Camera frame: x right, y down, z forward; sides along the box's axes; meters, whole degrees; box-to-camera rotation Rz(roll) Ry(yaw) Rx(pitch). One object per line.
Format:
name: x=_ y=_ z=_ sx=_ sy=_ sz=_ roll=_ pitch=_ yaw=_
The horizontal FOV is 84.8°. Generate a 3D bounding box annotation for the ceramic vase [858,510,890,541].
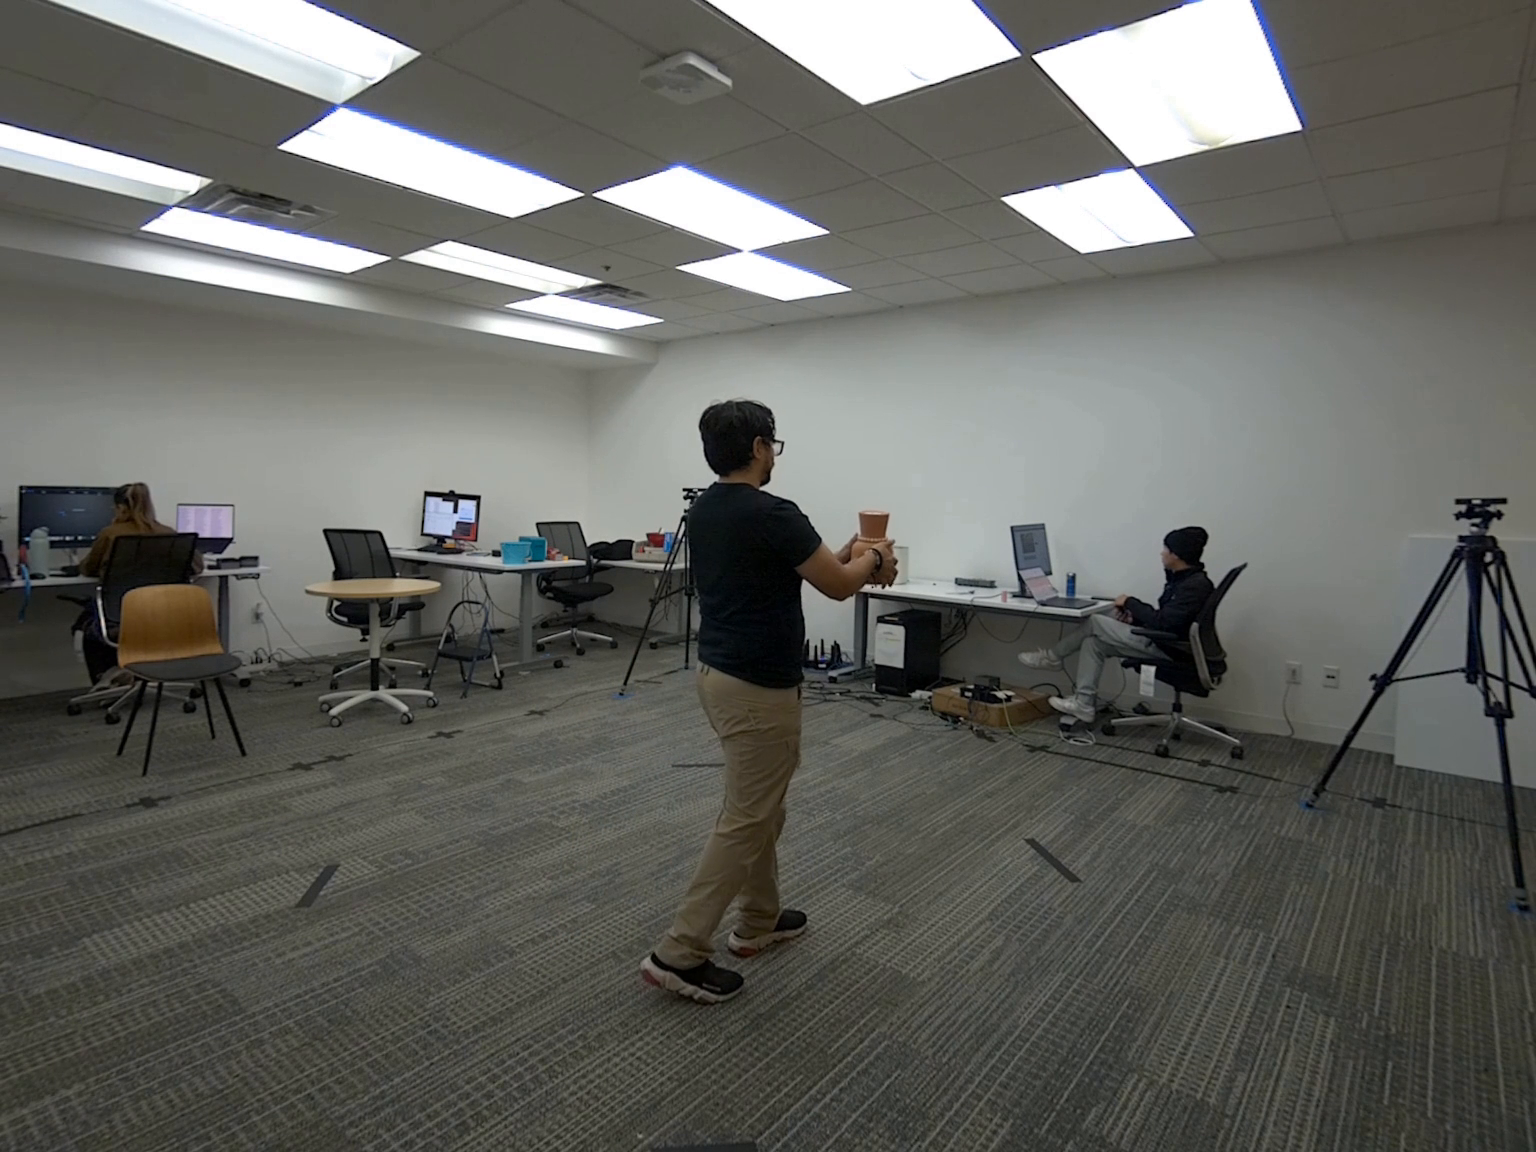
ceramic vase: x=0.320 y=-0.096 z=2.694 sx=0.137 sy=0.218 sz=0.158 roll=4 pitch=10 yaw=13
